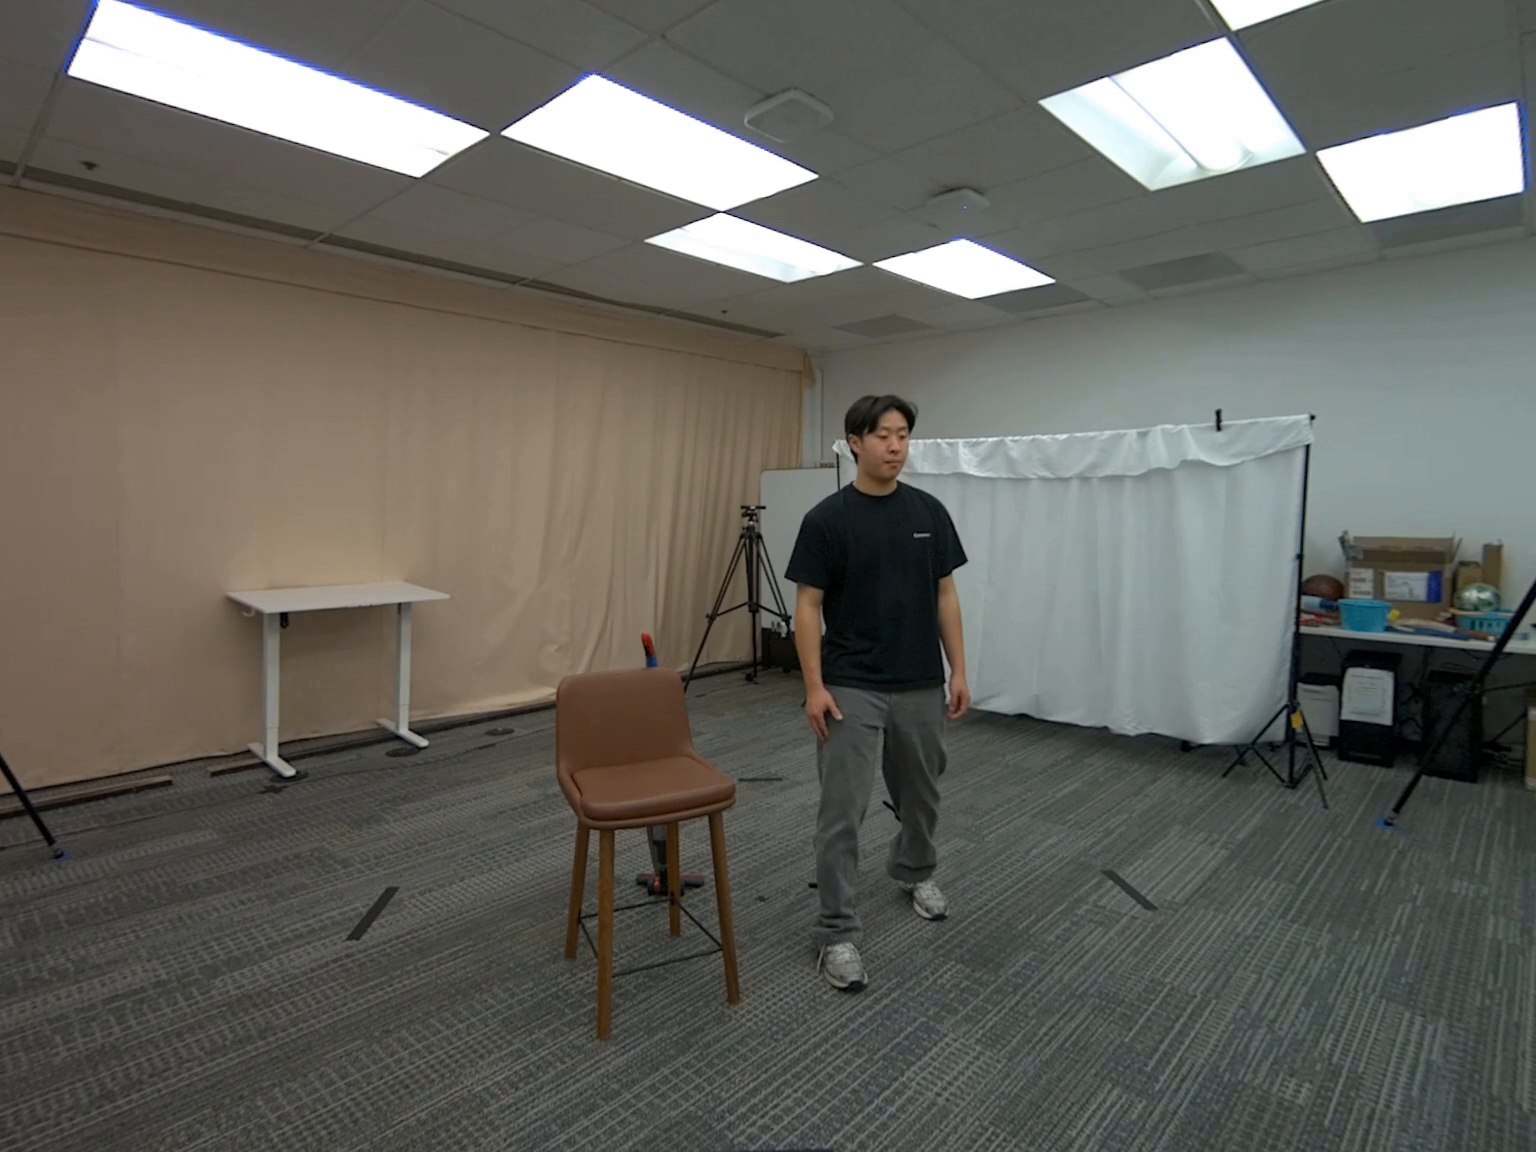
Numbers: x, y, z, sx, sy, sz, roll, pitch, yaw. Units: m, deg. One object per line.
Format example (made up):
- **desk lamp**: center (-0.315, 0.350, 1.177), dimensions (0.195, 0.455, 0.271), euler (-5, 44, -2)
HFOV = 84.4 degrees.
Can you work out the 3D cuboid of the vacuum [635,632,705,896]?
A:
- **vacuum**: center (-0.377, 0.664, 2.866), dimensions (0.253, 1.034, 0.145), euler (-1, 23, 2)
